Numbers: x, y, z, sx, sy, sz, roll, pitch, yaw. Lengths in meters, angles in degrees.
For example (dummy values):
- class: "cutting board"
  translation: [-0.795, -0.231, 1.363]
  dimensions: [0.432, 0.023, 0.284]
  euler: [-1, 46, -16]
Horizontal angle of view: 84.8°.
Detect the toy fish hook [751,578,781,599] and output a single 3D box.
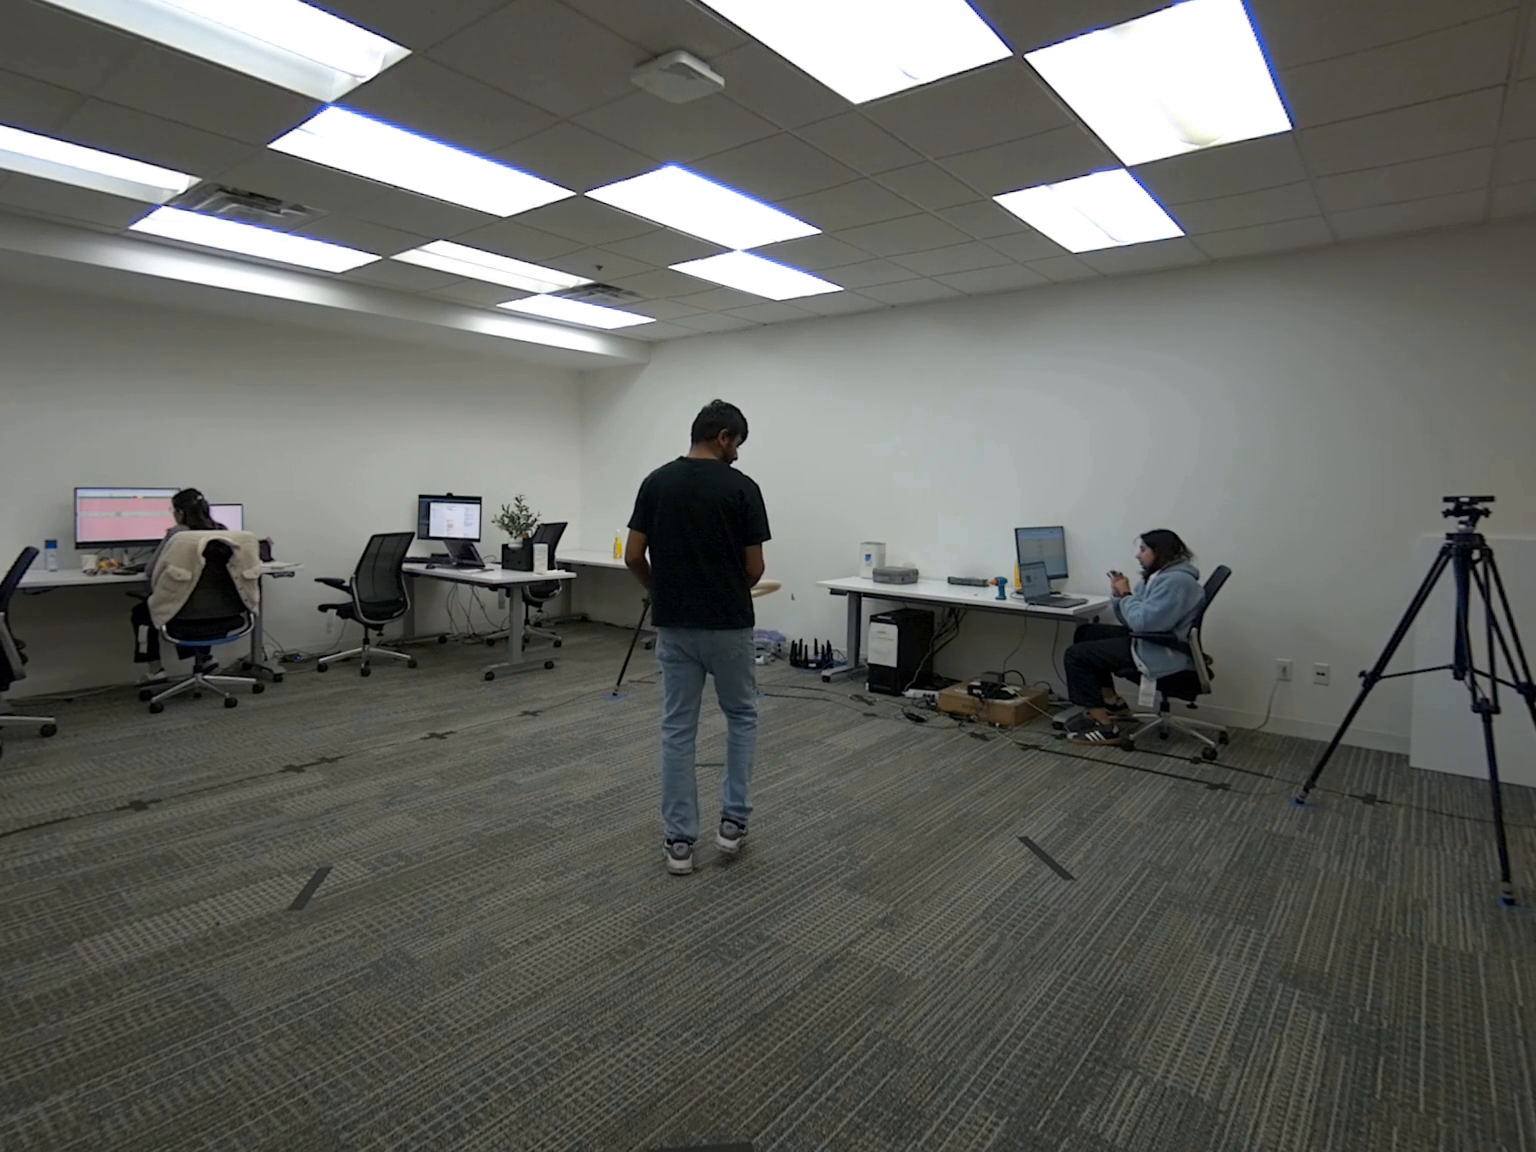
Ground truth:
- class: "toy fish hook"
  translation: [-0.160, 0.061, 3.483]
  dimensions: [0.227, 0.049, 0.490]
  euler: [-30, -19, 38]
